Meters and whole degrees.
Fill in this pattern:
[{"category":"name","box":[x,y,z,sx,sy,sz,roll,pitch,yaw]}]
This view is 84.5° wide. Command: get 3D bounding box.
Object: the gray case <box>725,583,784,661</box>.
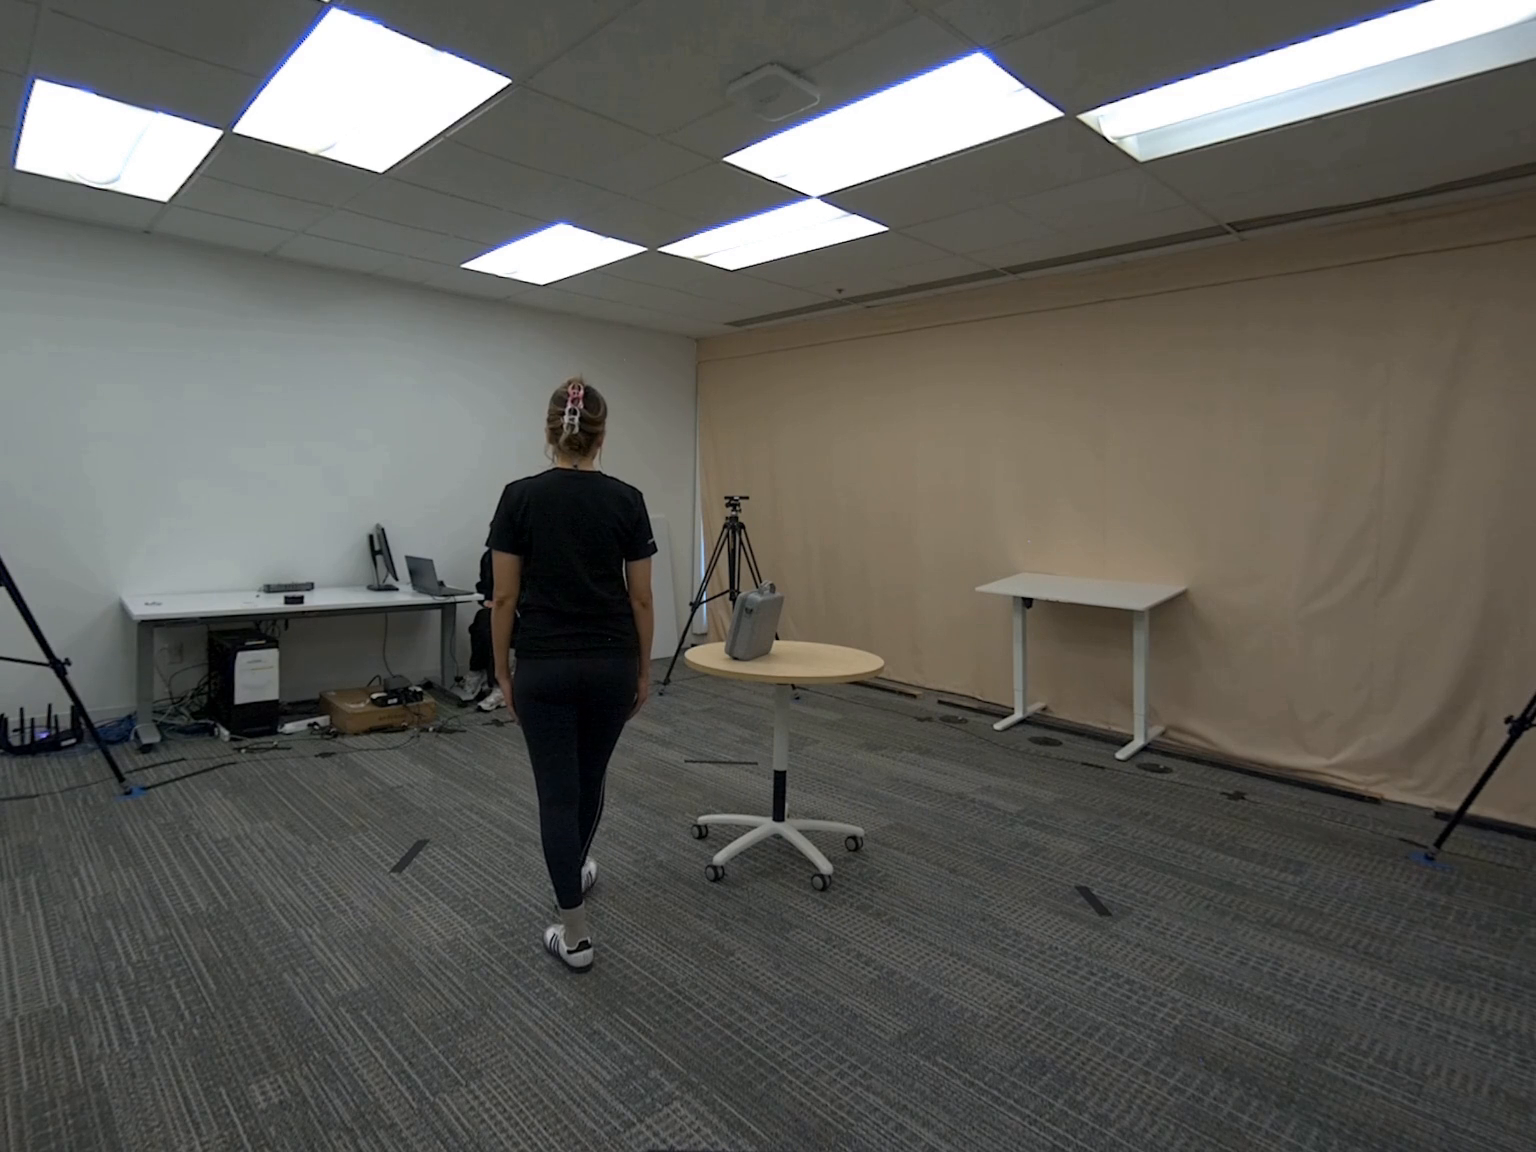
[{"category":"gray case","box":[-0.058,0.178,3.218,0.106,0.259,0.253,16,10,23]}]
